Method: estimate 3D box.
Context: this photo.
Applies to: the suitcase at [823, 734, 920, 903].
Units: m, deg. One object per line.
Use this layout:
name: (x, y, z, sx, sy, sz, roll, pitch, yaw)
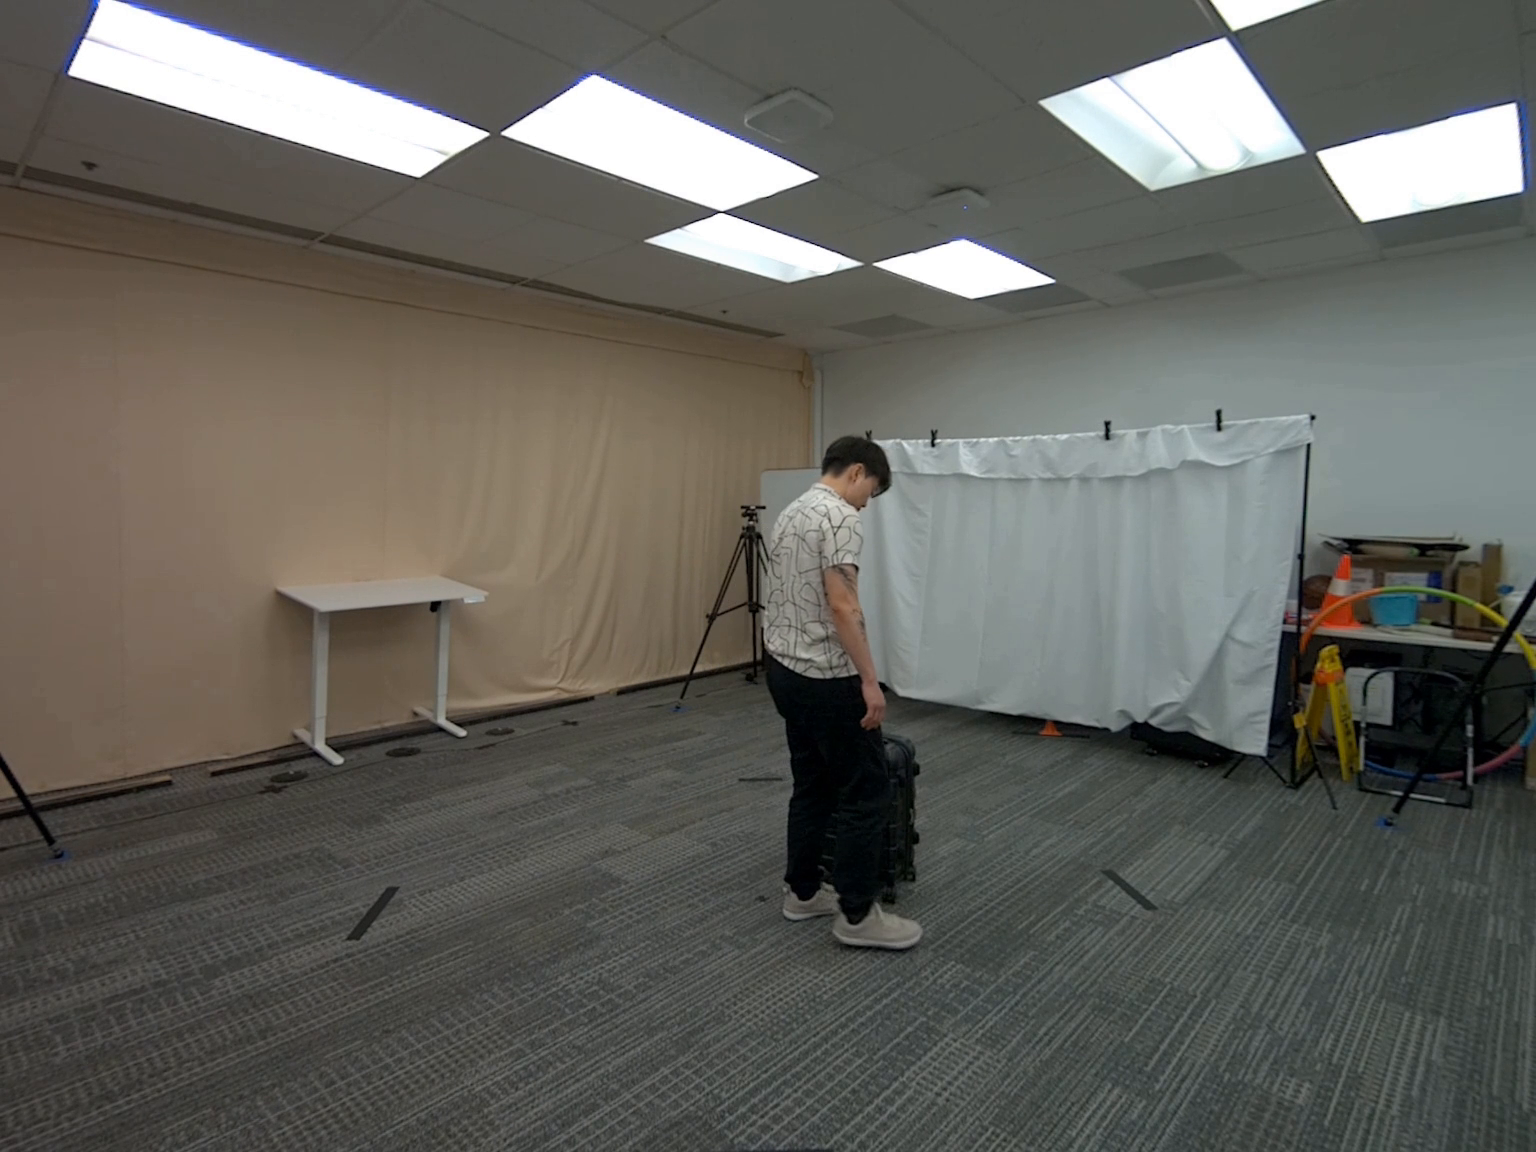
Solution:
suitcase: (0.357, 0.852, 3.128, 0.386, 0.549, 0.241, 1, 2, 31)
